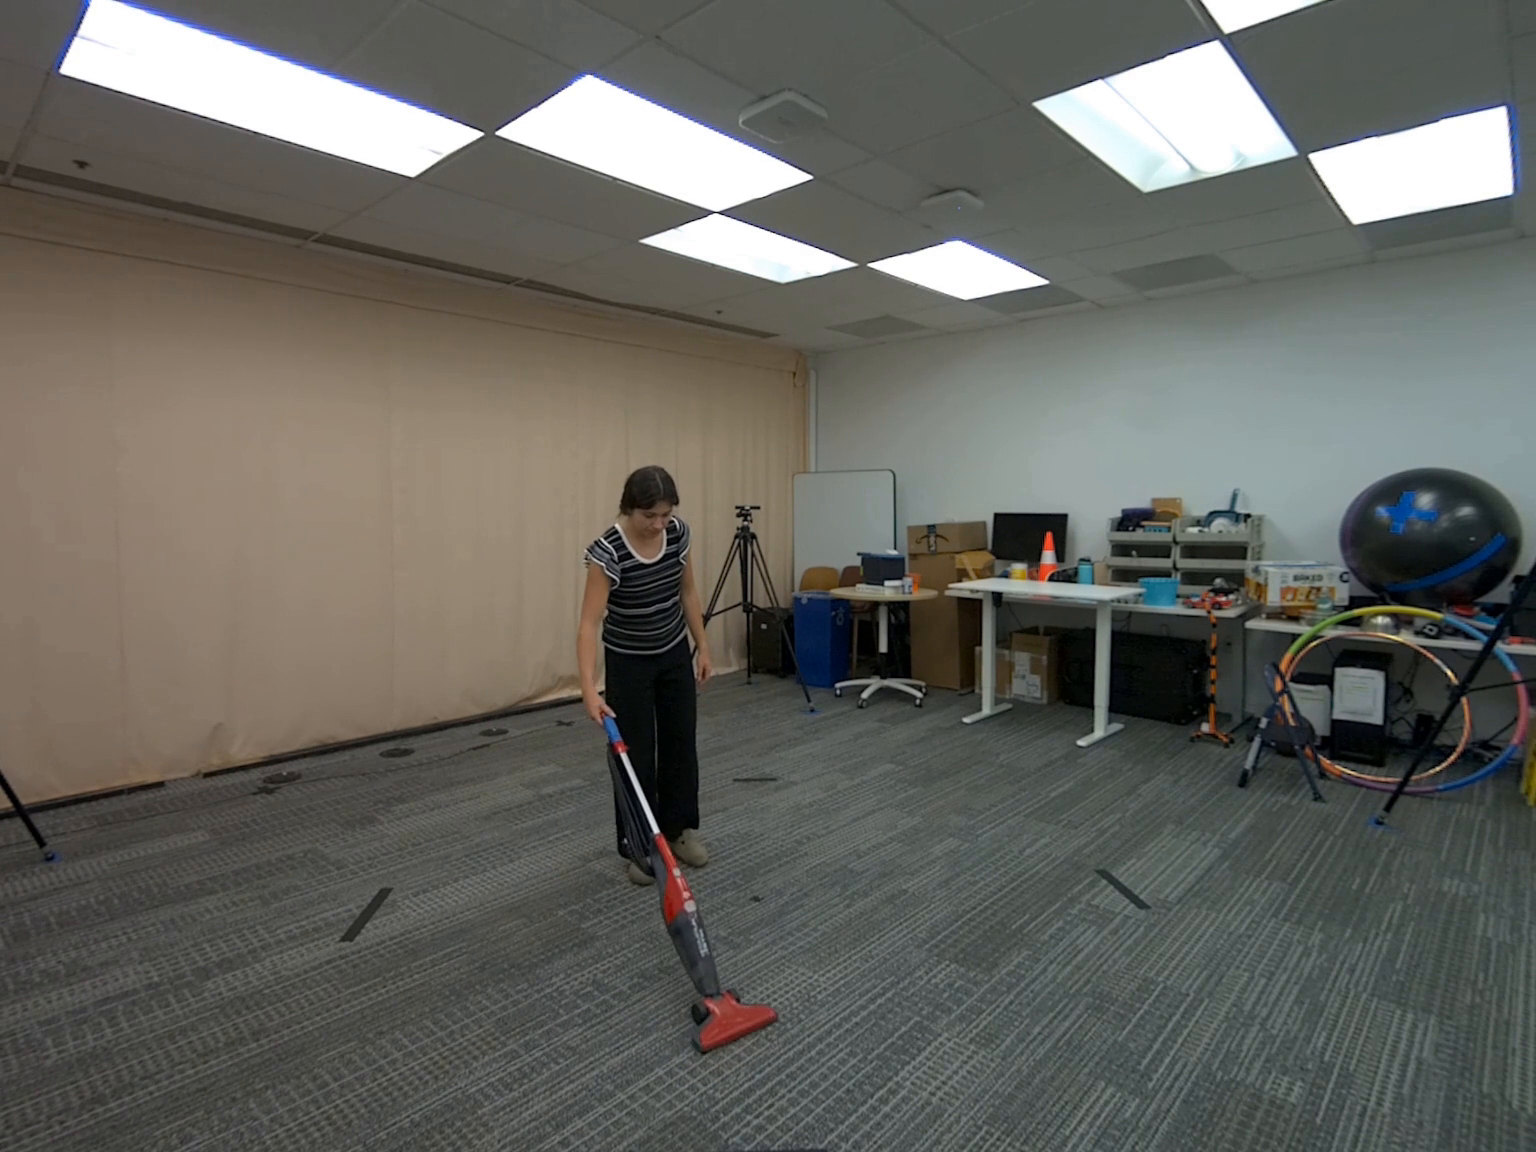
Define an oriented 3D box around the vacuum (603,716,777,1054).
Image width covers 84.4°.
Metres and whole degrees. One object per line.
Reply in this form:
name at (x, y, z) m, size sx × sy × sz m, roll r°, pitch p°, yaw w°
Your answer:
vacuum at (-0.339, 0.822, 2.567) m, size 0.244 × 0.144 × 1.082 m, roll 3°, pitch 42°, yaw -39°
